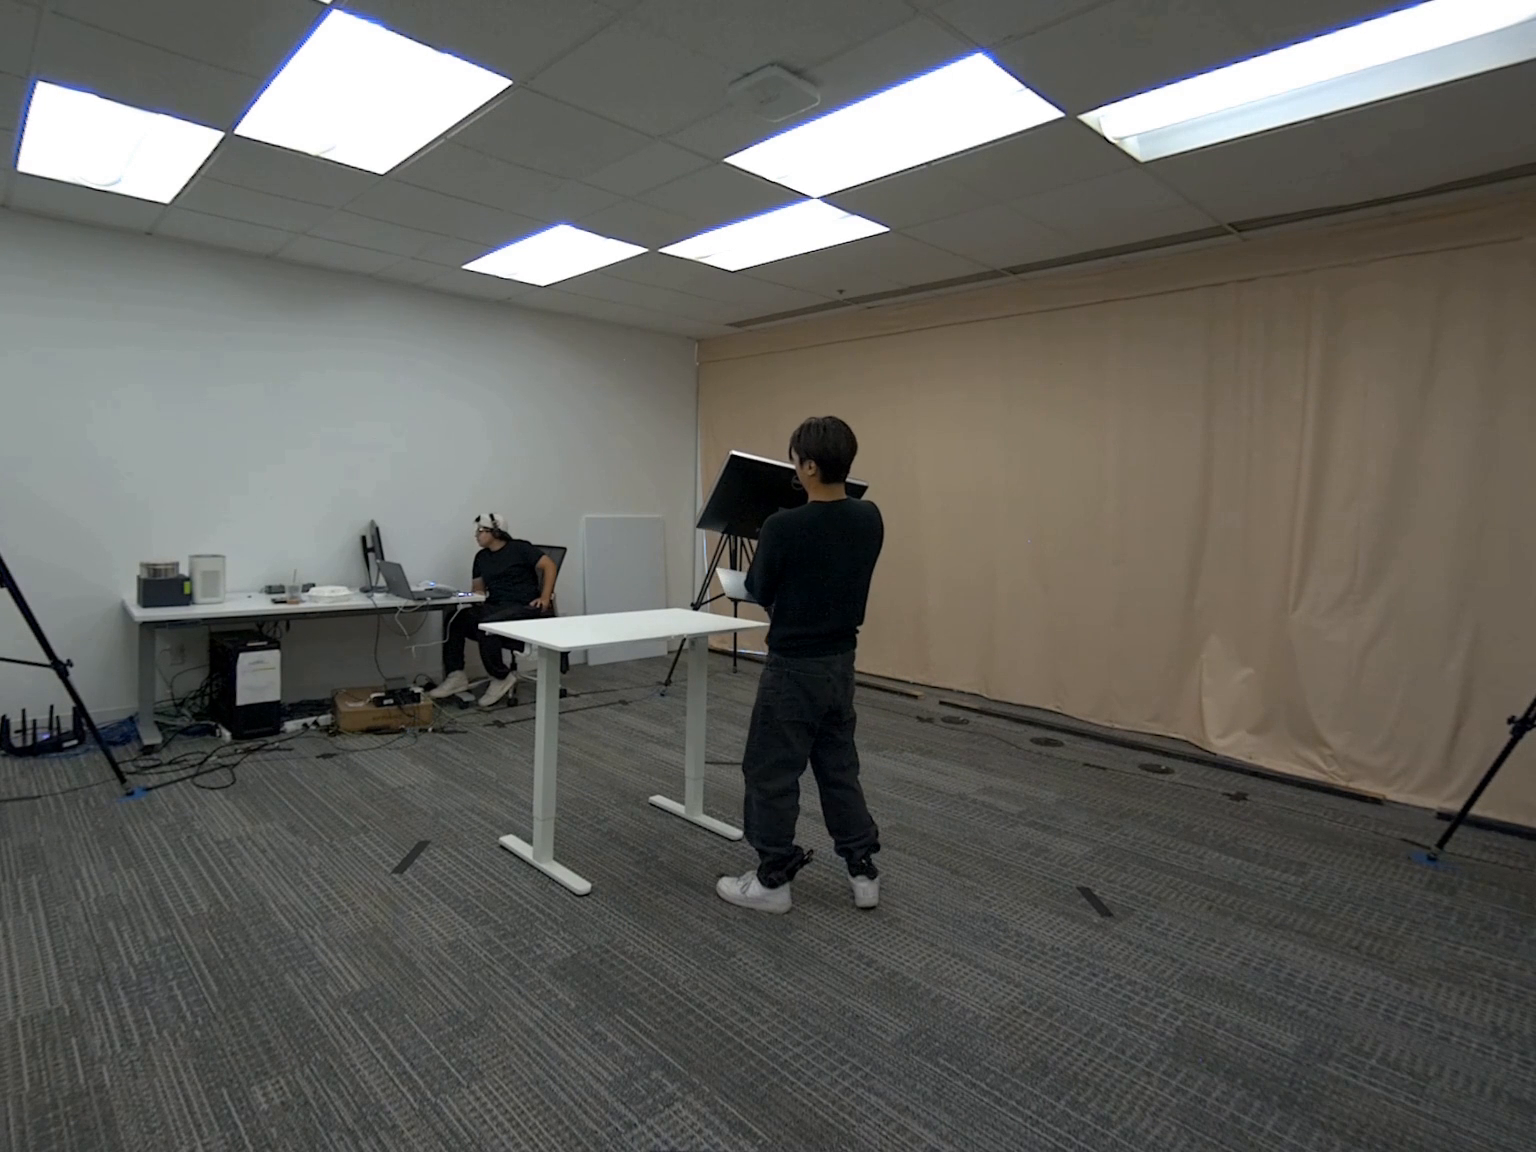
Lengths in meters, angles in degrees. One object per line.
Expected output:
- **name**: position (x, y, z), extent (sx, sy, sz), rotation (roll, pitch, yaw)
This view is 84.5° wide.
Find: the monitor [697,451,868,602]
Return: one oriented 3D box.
- **monitor**: position (0.018, -0.166, 3.125), extent (0.528, 0.518, 0.192), rotation (10, 28, -23)
